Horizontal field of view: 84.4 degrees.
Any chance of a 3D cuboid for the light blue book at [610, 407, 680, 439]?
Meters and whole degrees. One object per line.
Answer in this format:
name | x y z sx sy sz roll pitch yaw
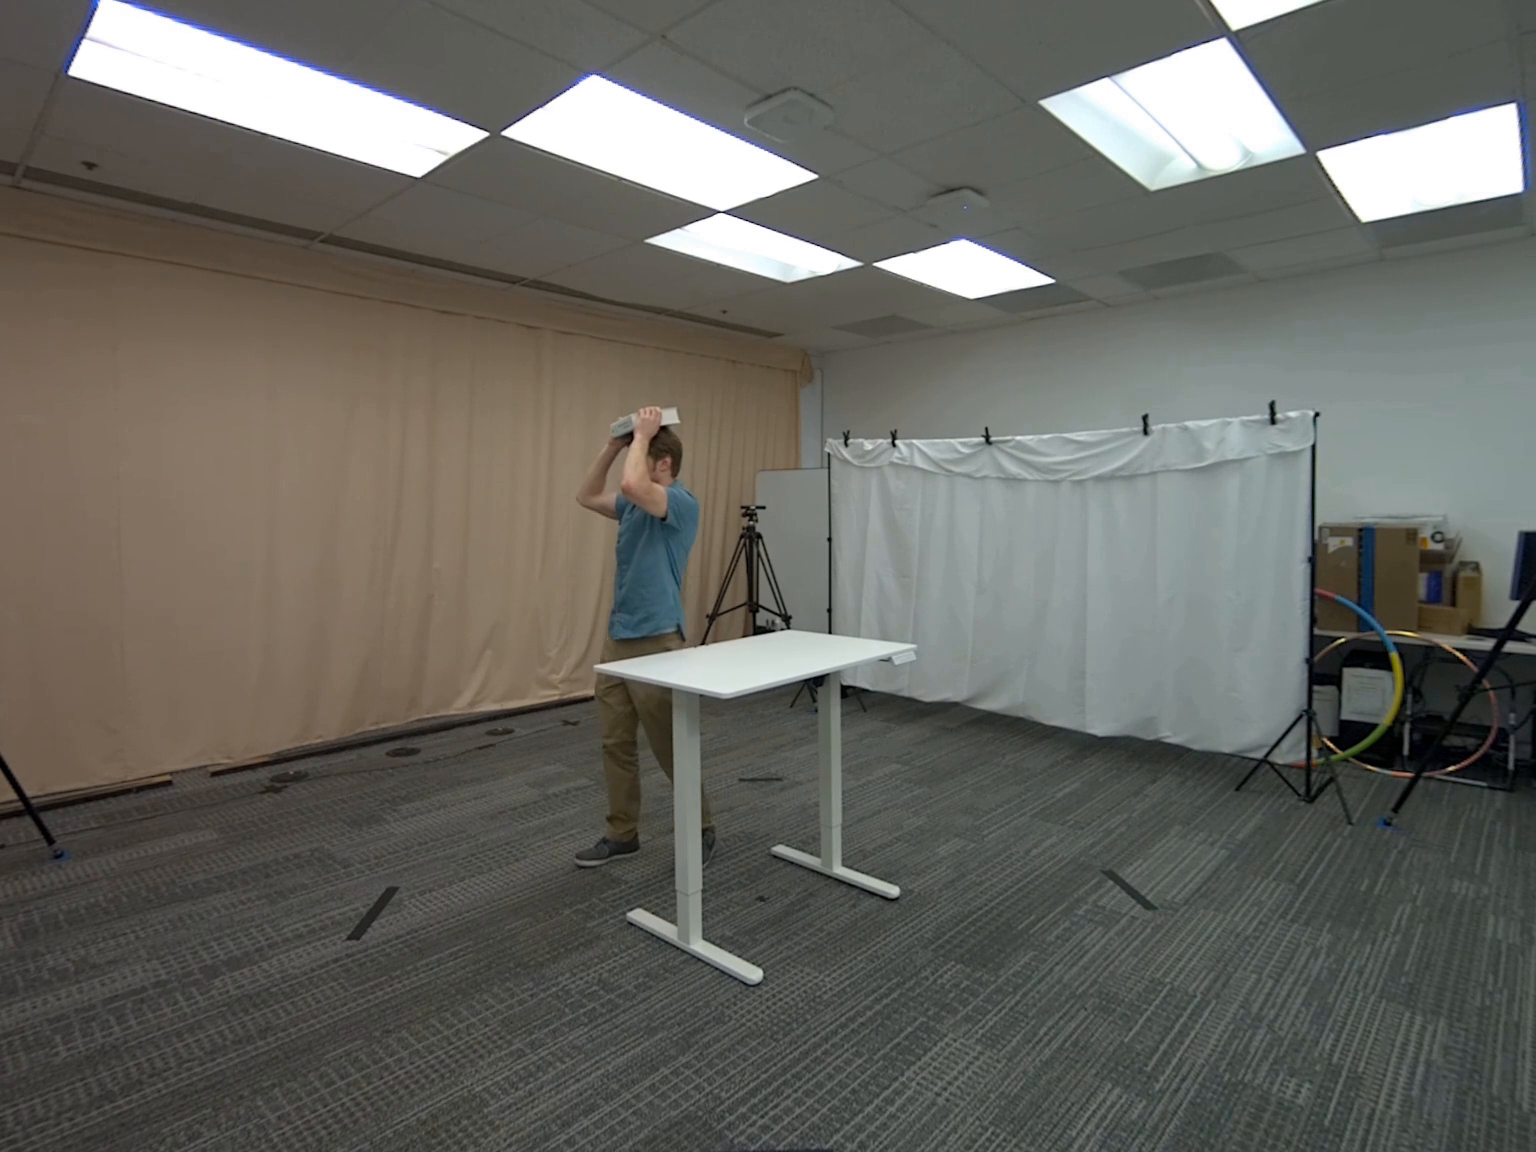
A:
light blue book | -0.468 -0.584 3.231 0.188 0.059 0.267 -13 6 -23
